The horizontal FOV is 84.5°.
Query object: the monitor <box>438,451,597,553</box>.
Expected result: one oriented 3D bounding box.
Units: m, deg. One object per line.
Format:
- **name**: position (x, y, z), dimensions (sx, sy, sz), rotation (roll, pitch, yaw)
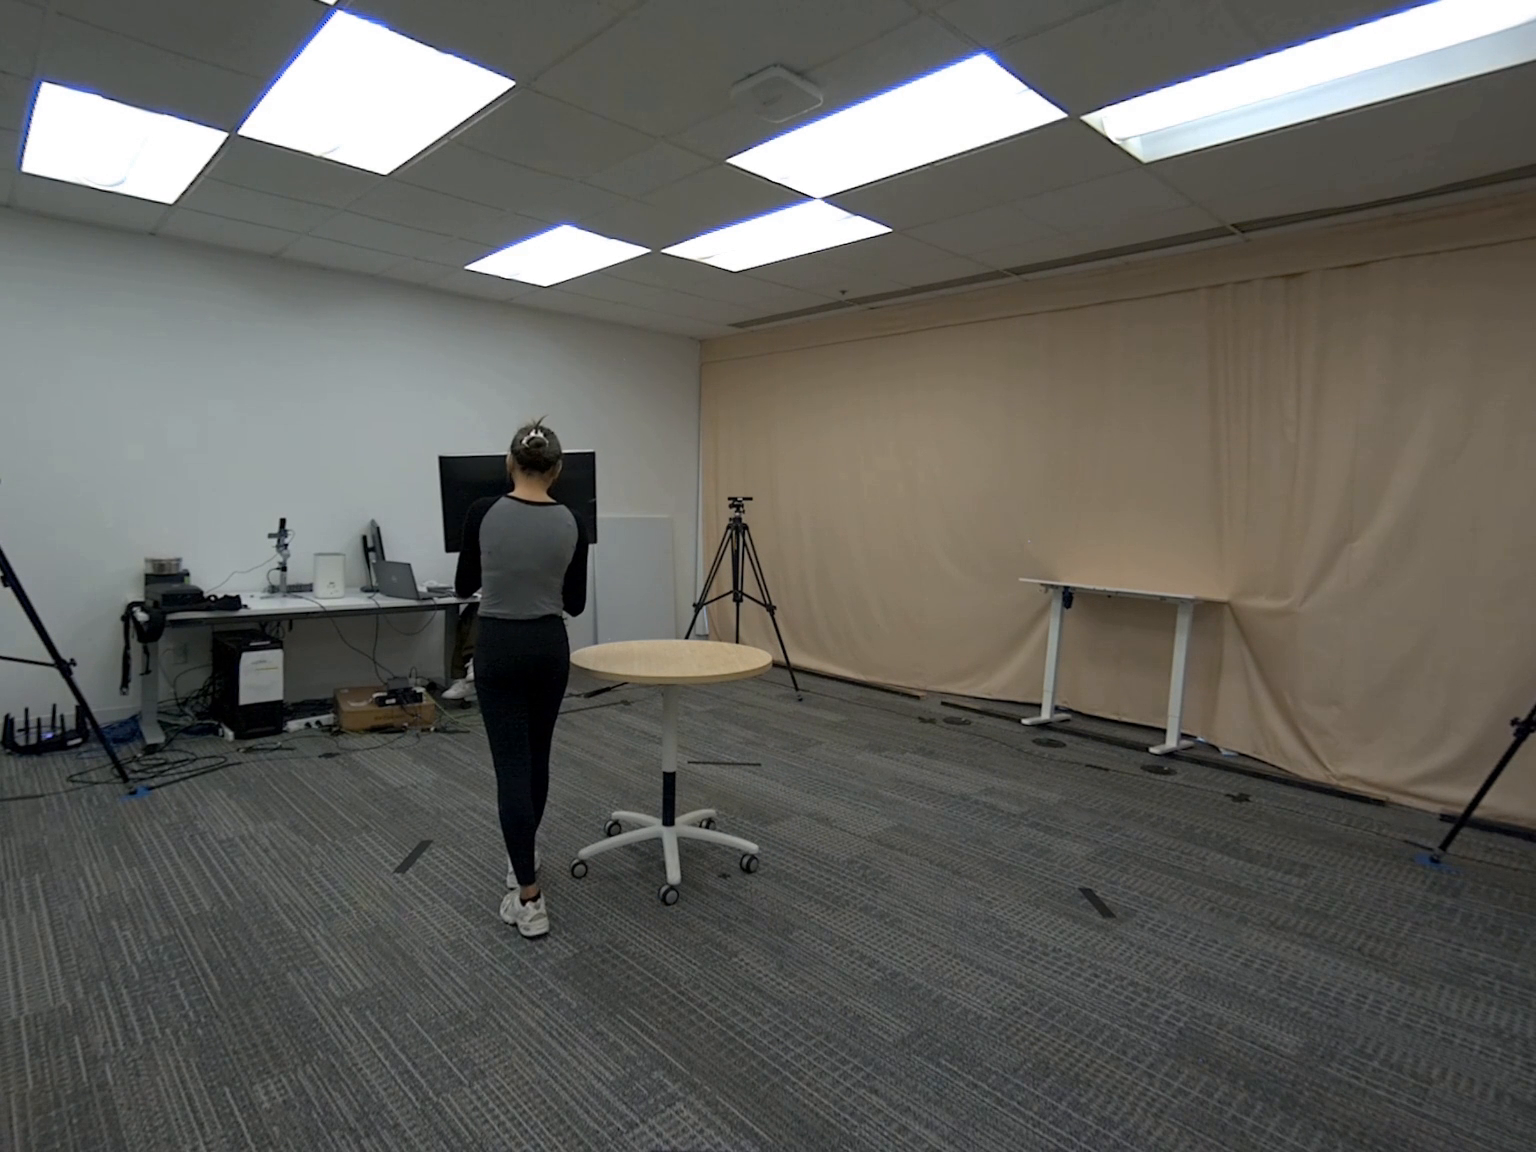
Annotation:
- **monitor**: position (-0.903, -0.180, 3.080), dimensions (0.531, 0.520, 0.190), rotation (-4, 5, -20)
